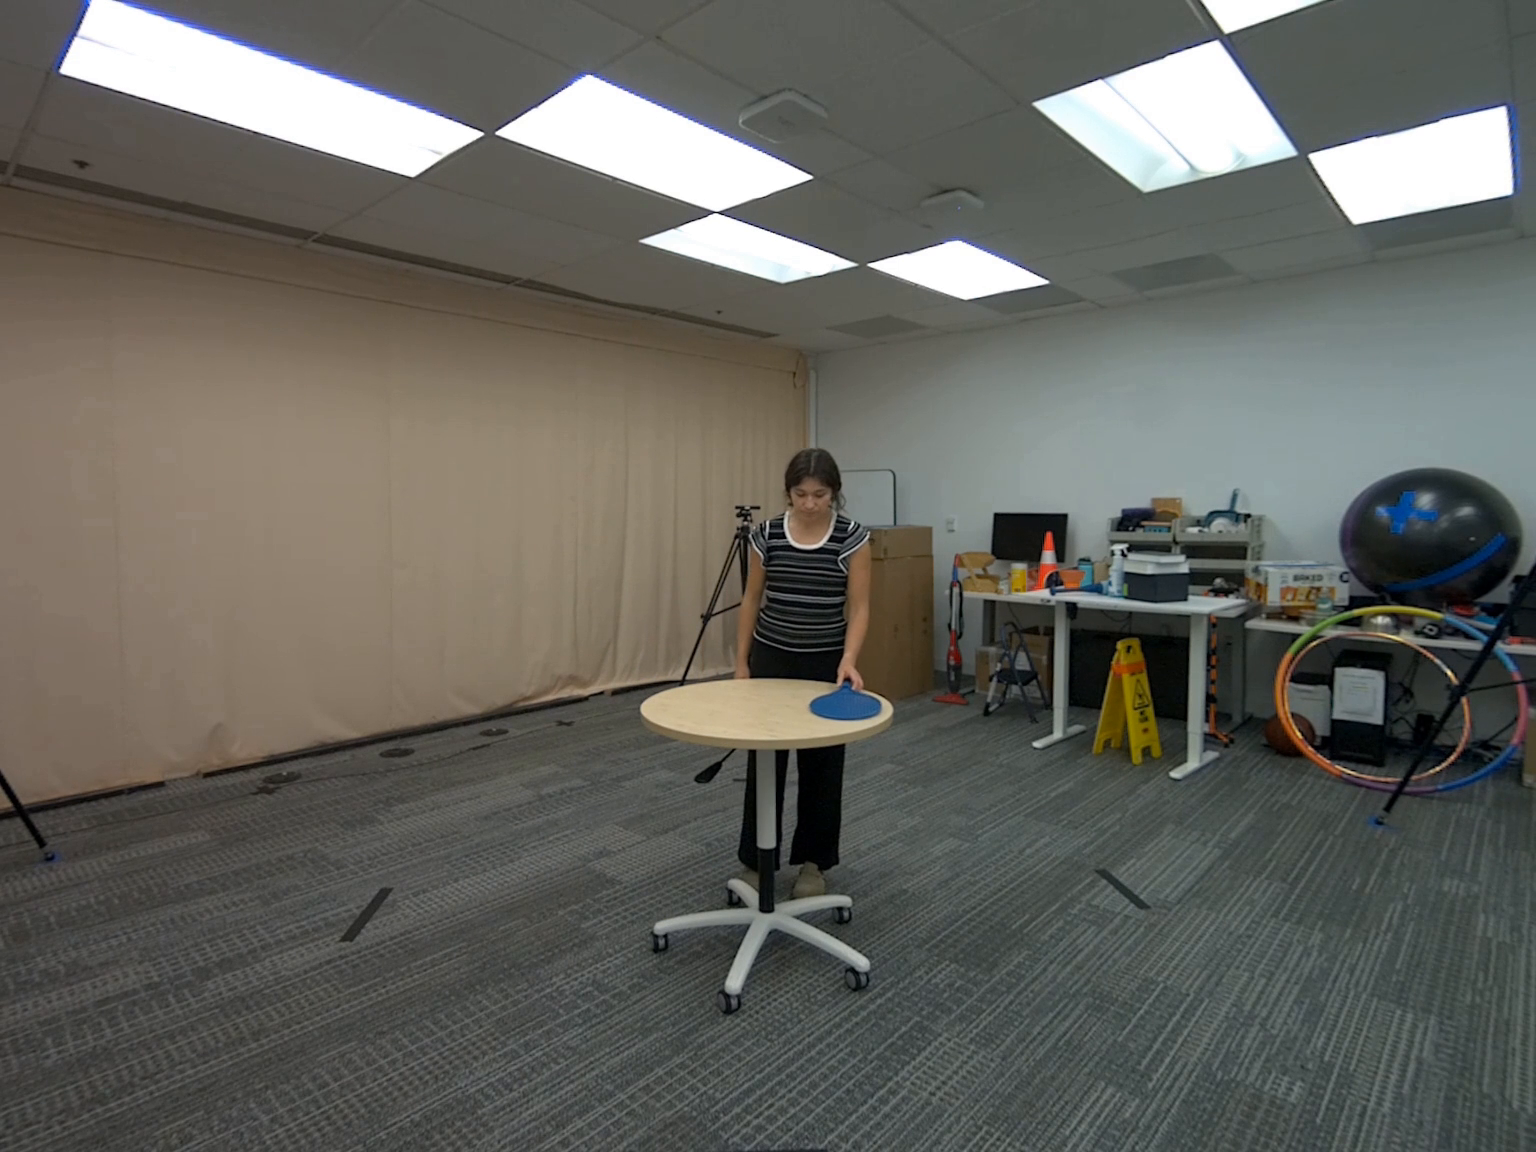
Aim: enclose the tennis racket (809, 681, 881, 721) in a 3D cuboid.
[{"bbox_3d":[0.249,0.379,2.593,0.215,0.031,0.433,-1,7,3],"label":"tennis racket"}]
